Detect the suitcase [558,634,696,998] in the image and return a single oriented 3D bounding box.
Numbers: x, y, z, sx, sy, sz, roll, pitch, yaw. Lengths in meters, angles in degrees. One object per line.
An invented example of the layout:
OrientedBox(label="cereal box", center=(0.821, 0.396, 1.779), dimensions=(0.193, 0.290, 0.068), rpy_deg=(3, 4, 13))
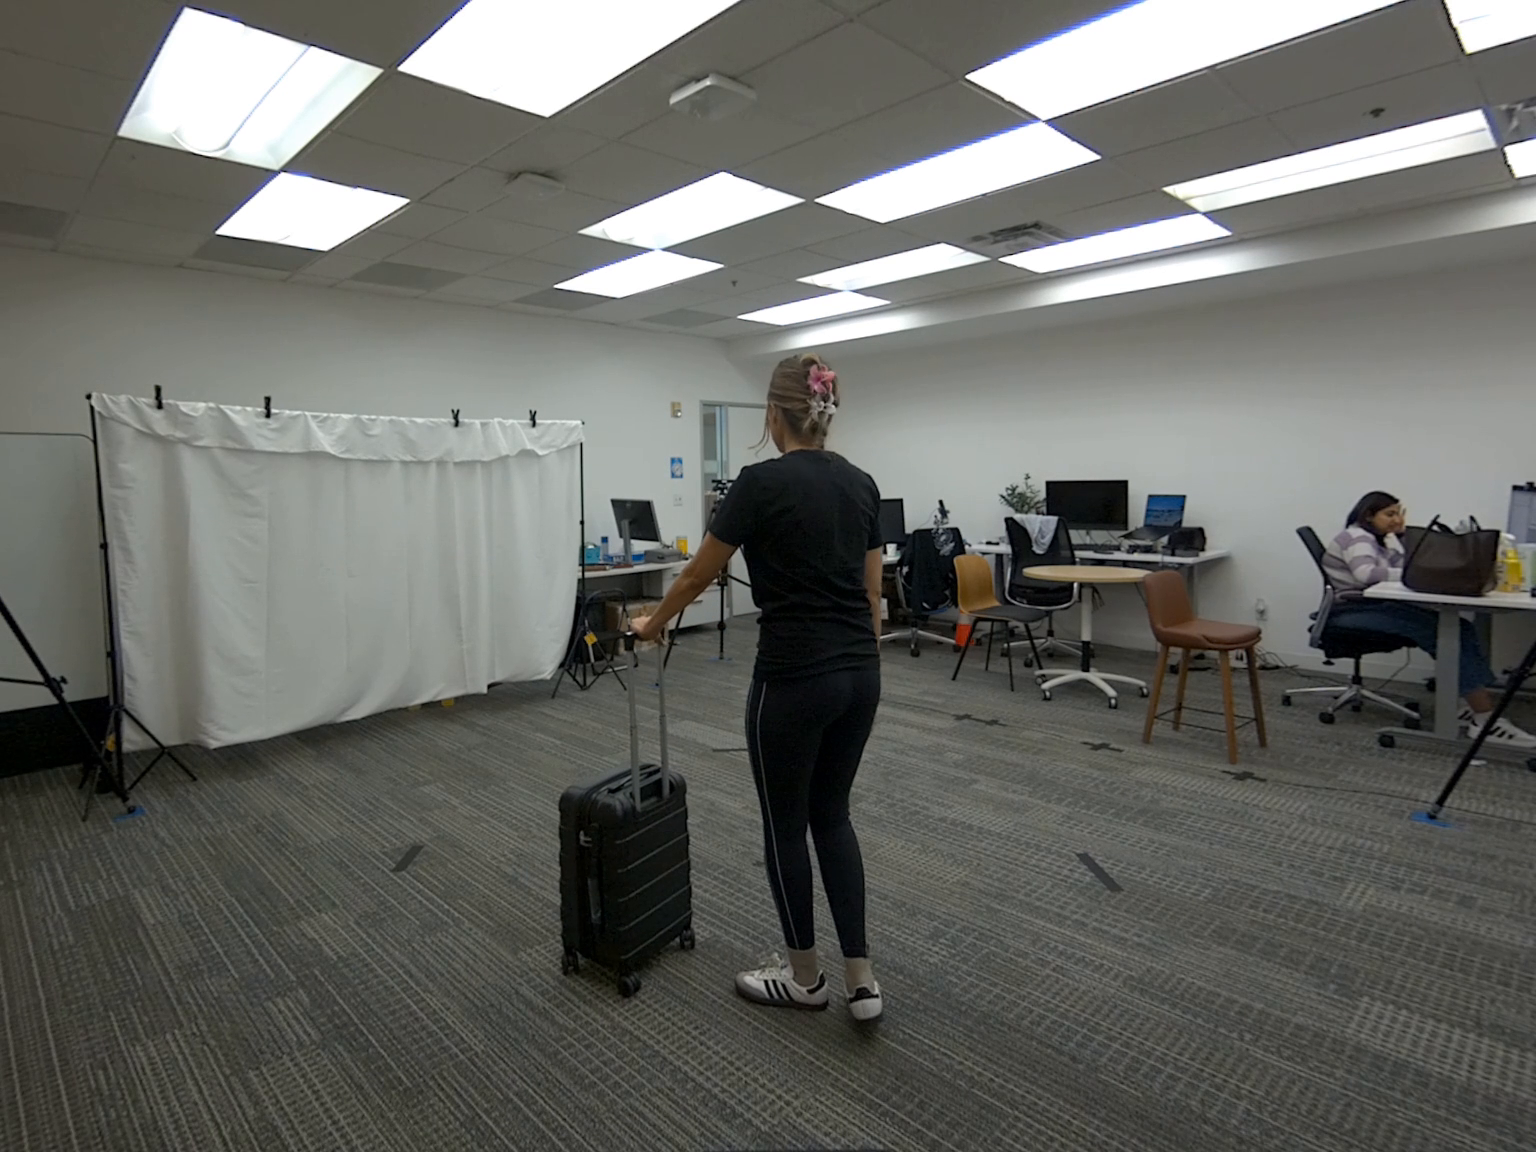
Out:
OrientedBox(label="suitcase", center=(-0.423, 0.647, 2.499), dimensions=(0.264, 0.976, 0.375), rpy_deg=(-1, 3, 32))
